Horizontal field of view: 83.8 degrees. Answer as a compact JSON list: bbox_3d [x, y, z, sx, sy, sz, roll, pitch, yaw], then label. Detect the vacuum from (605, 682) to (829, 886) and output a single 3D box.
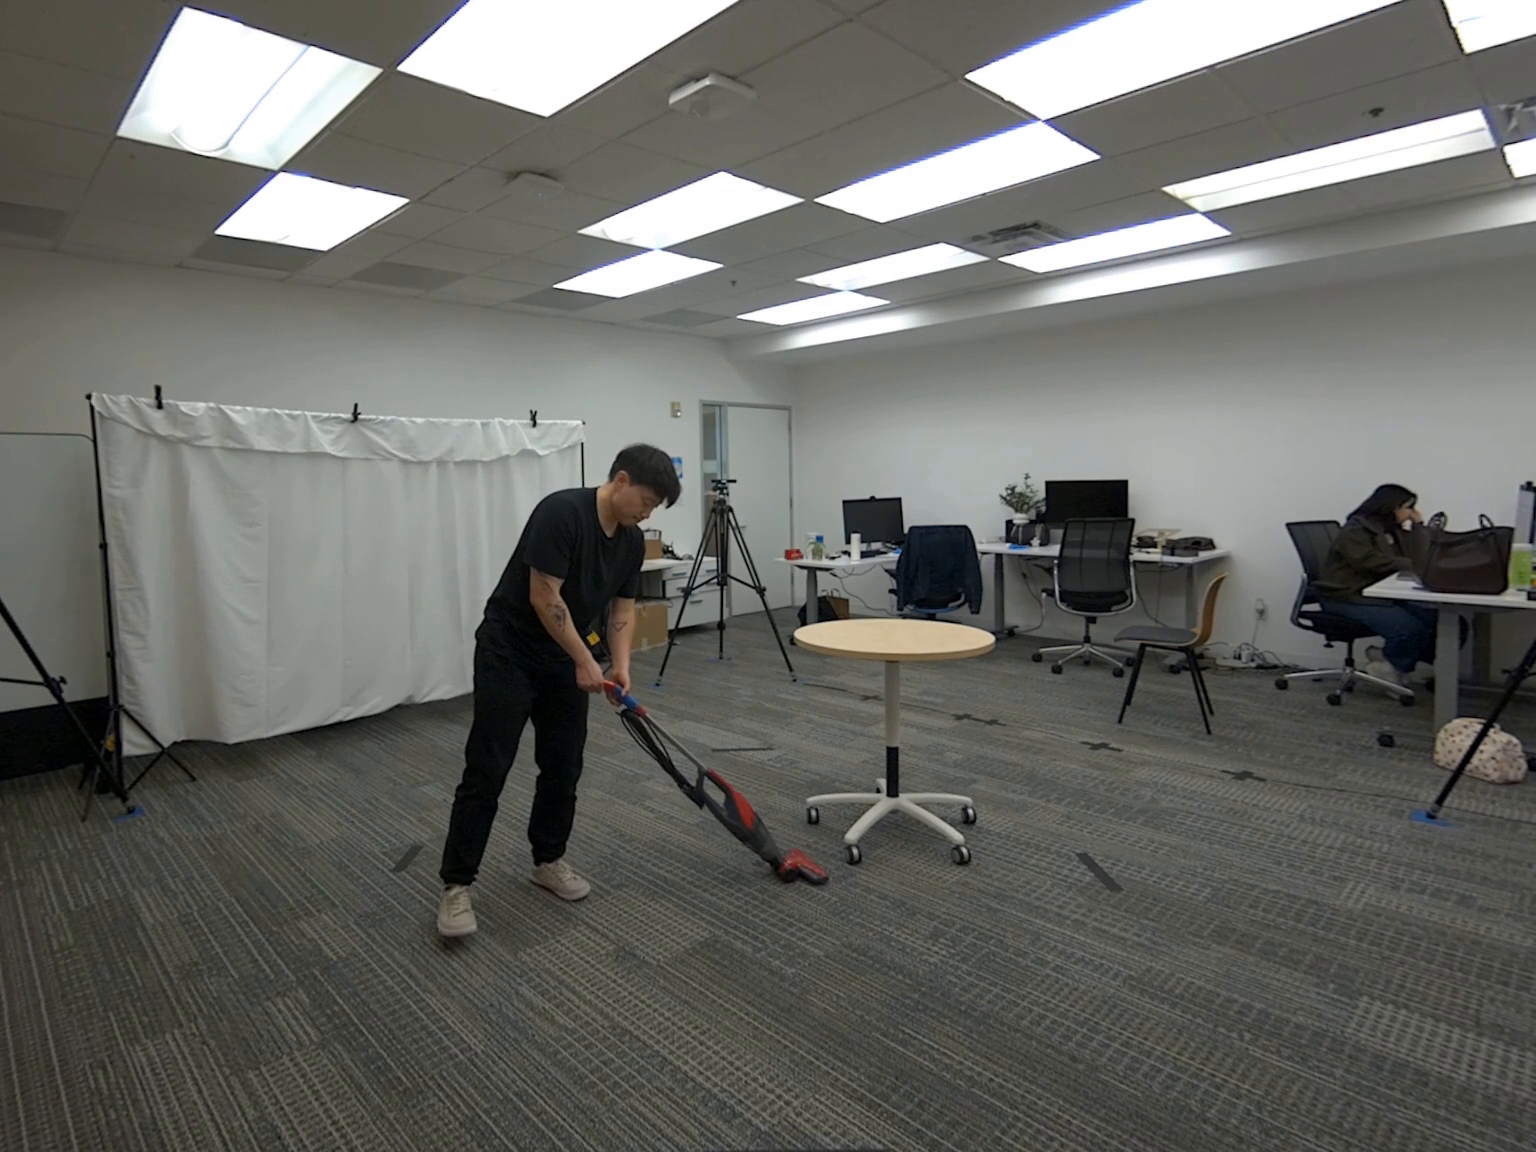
[{"bbox_3d":[-0.226,0.693,2.879,1.025,0.144,0.258,45,-14,-18],"label":"vacuum"}]
